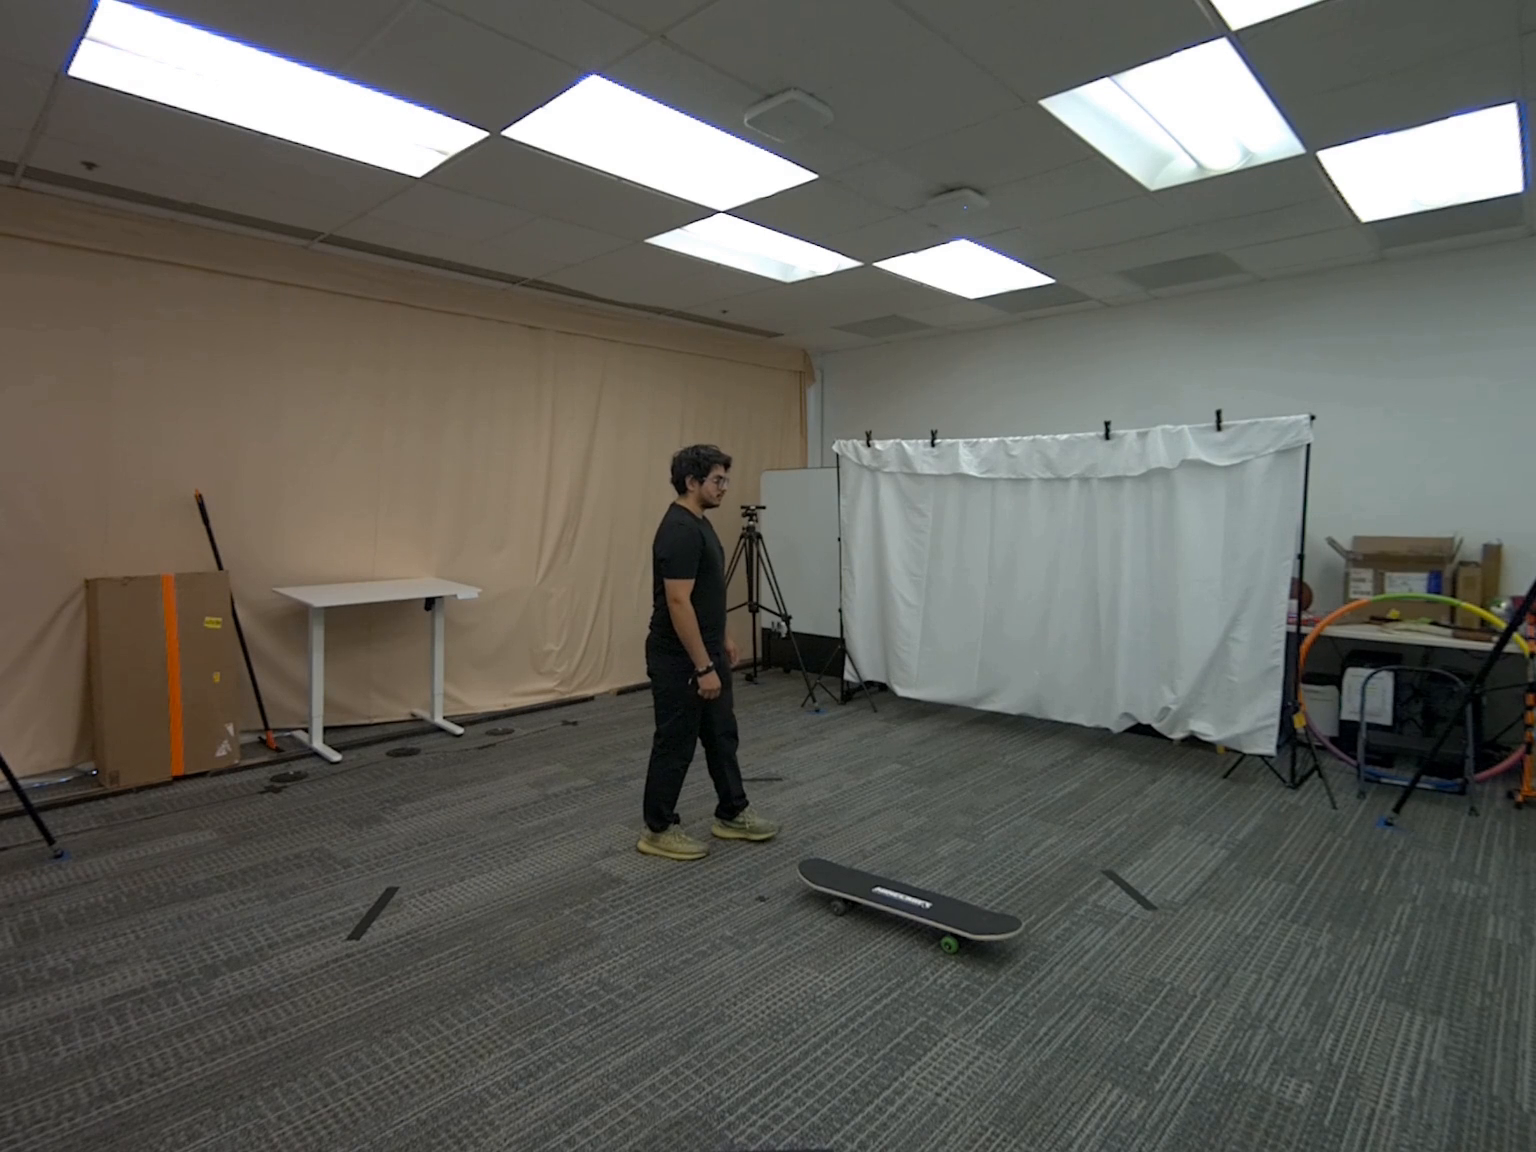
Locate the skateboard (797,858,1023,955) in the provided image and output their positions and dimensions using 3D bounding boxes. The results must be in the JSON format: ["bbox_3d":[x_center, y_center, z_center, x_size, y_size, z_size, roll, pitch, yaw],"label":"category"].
[{"bbox_3d":[0.448,1.096,2.802,0.810,0.110,0.188,3,6,36],"label":"skateboard"}]
